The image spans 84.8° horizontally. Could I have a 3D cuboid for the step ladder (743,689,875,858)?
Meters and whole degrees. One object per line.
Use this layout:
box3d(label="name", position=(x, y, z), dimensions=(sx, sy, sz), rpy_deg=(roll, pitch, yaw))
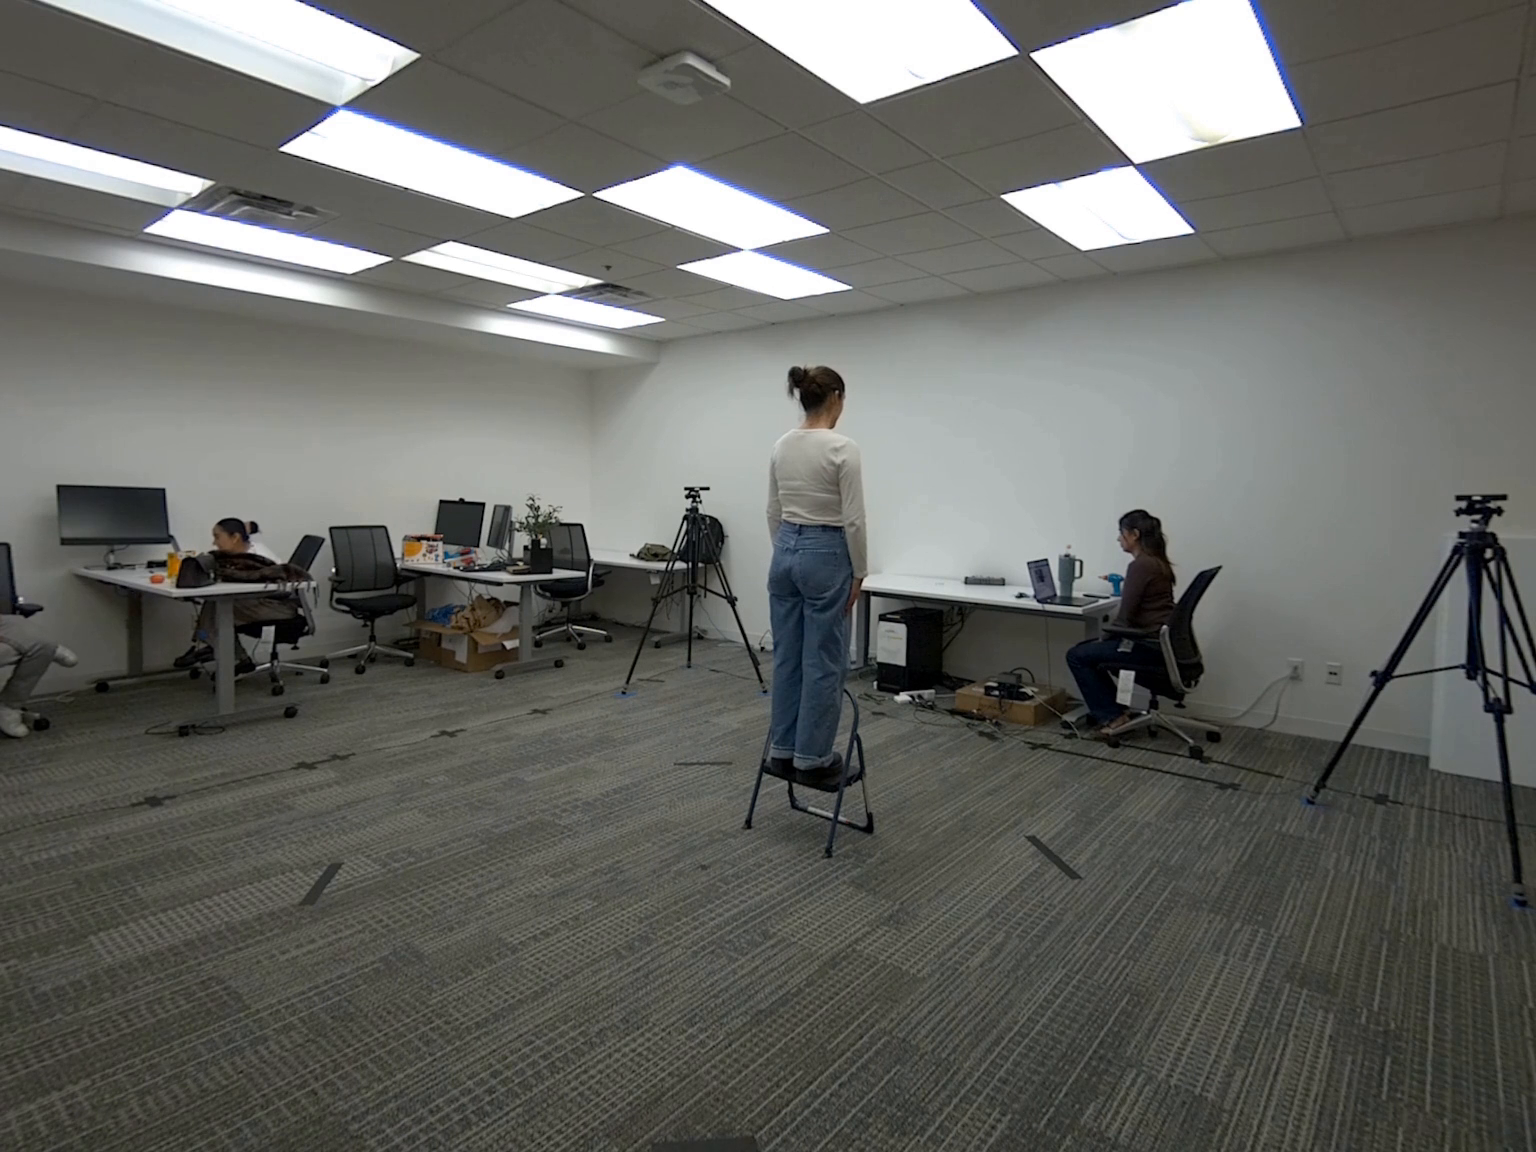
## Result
box3d(label="step ladder", position=(0.167, 0.734, 3.459), dimensions=(0.445, 0.604, 0.339), rpy_deg=(5, 5, 39))
